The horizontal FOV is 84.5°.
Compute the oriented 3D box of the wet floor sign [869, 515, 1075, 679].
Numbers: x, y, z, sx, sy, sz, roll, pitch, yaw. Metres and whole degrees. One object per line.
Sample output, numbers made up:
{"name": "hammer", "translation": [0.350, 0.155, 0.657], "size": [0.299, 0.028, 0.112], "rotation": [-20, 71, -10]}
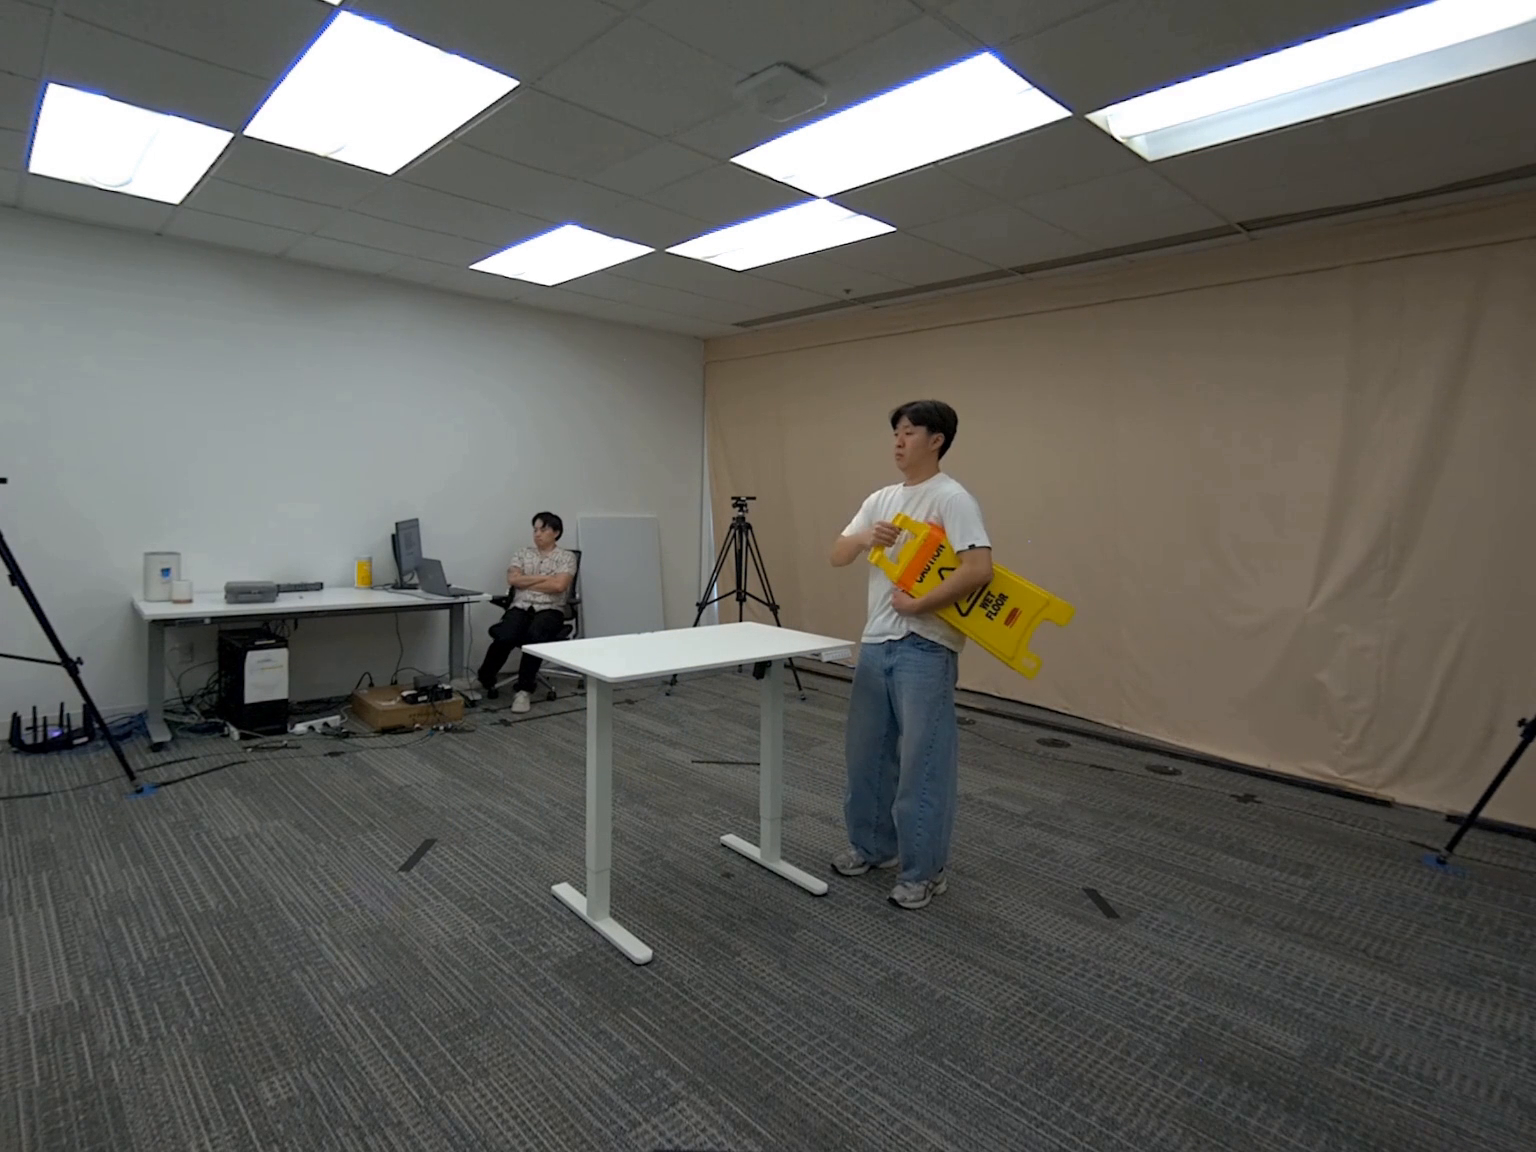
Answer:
{"name": "wet floor sign", "translation": [0.651, 0.047, 2.825], "size": [0.647, 0.282, 0.289], "rotation": [28, 1, 0]}
